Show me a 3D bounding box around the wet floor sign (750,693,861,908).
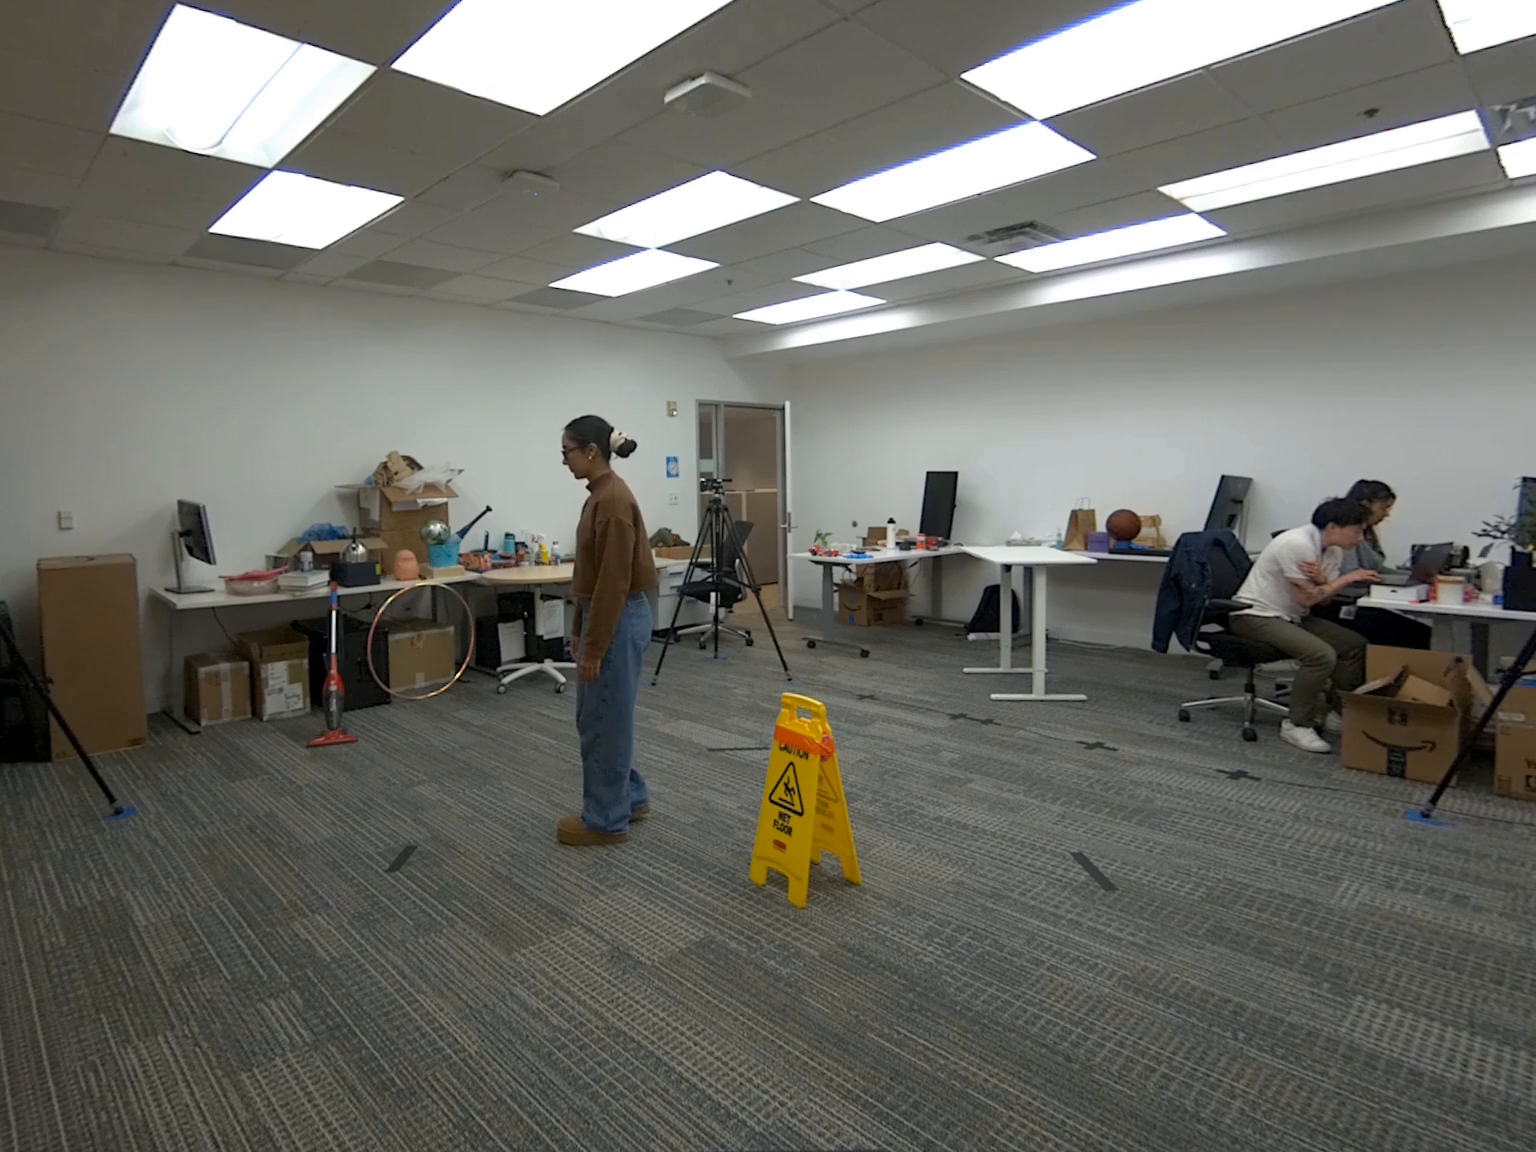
[{"bbox_3d":[0.124,0.737,2.934,0.282,0.644,0.291,-4,5,-39],"label":"wet floor sign"}]
